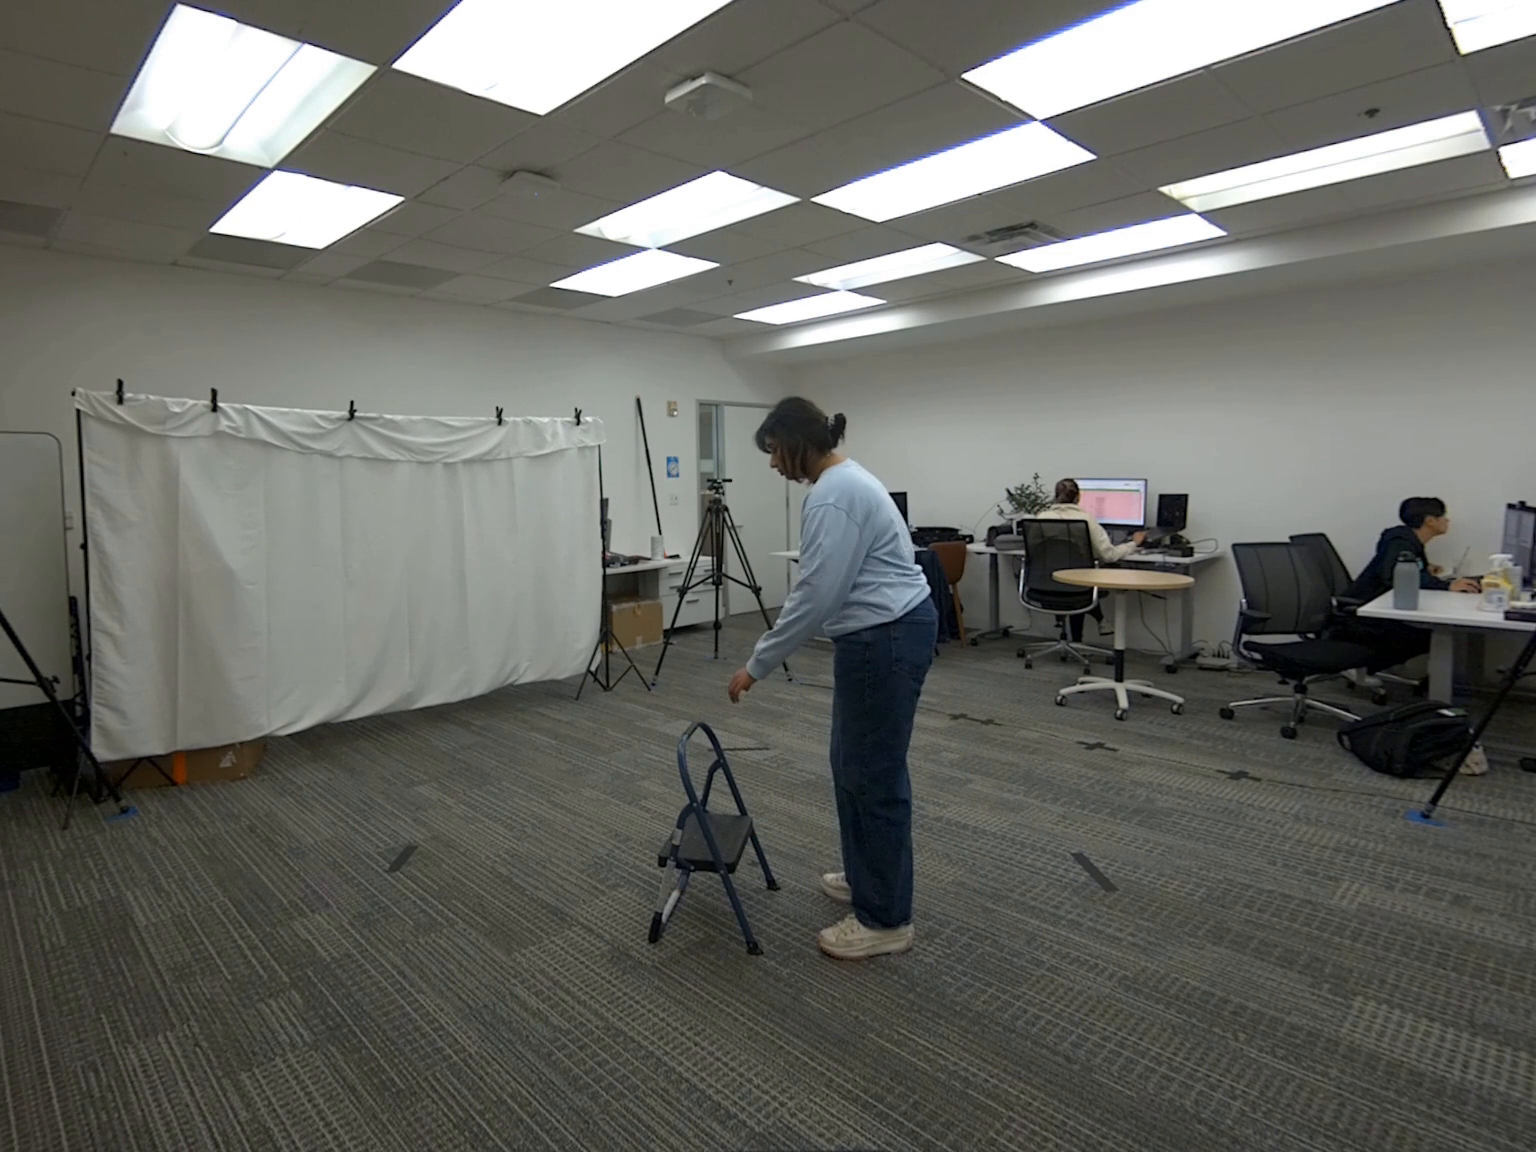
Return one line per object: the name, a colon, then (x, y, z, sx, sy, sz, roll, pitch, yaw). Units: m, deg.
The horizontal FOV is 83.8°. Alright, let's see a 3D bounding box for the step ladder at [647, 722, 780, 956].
step ladder: (-0.164, 0.792, 2.728, 0.353, 0.604, 0.428, 1, 5, 10)
